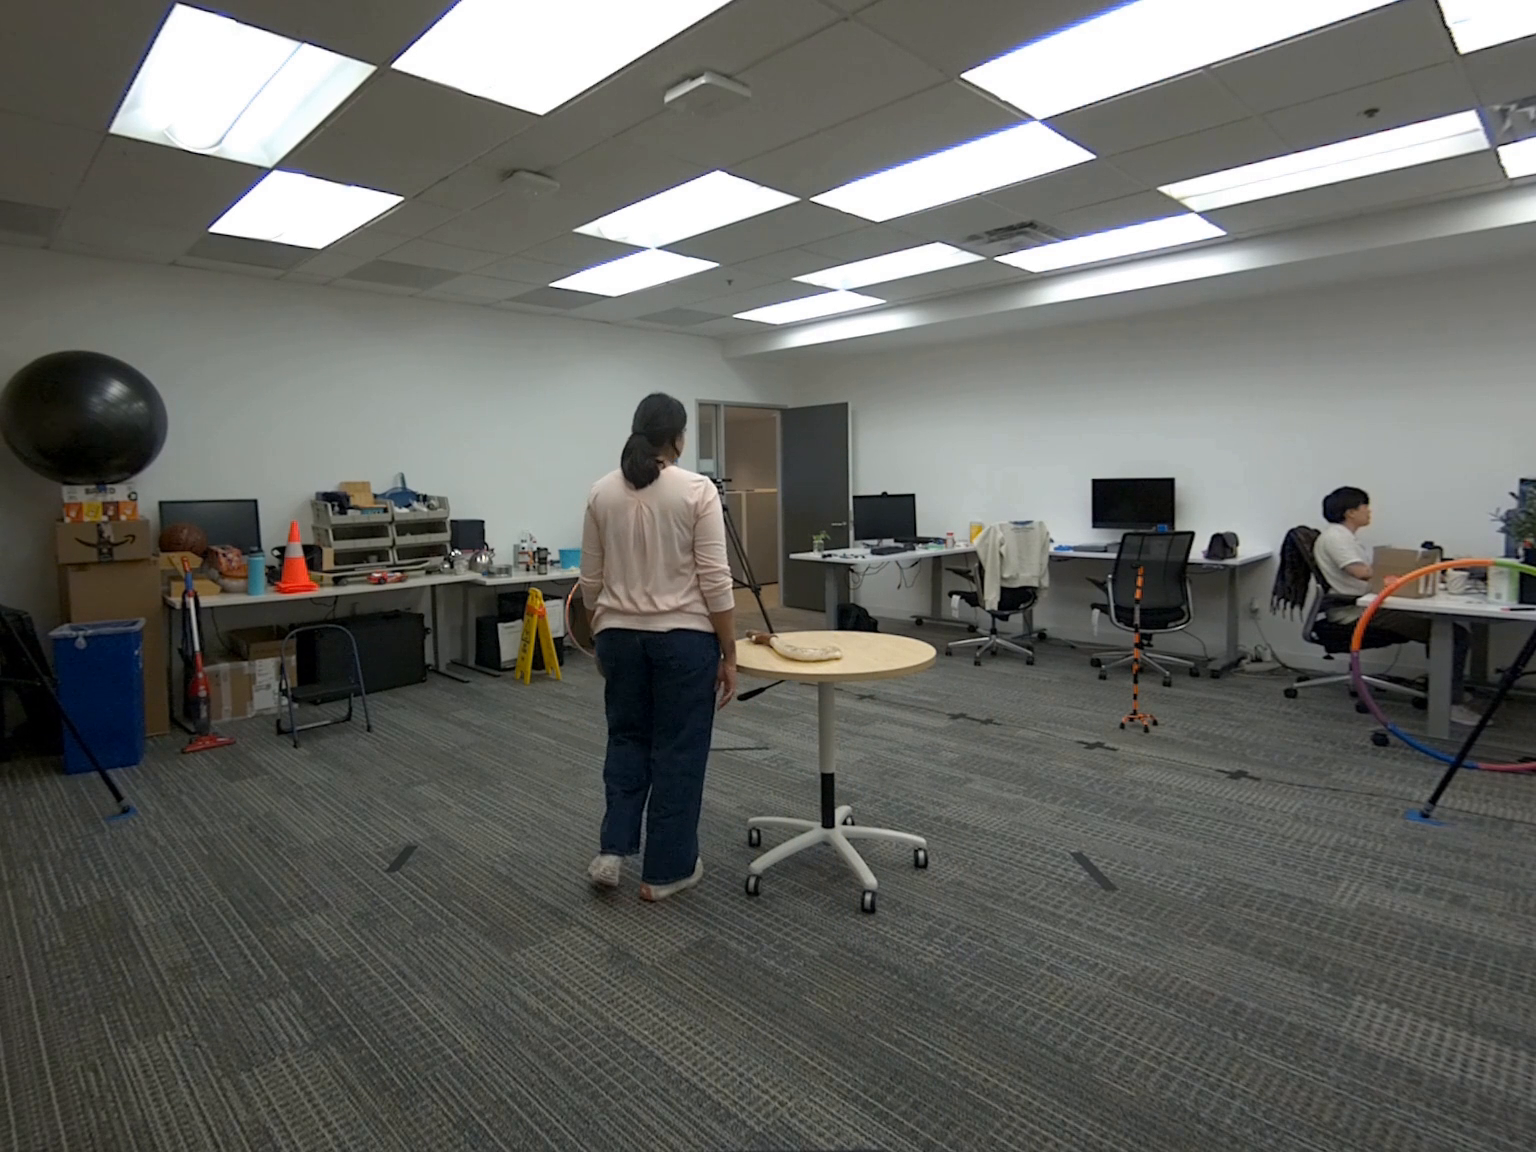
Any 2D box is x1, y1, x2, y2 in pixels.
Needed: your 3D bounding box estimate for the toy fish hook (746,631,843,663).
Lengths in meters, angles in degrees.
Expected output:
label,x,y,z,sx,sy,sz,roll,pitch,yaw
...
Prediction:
label,x,y,z,sx,sy,sz,roll,pitch,yaw
toy fish hook,0.089,0.248,3.075,0.220,0.048,0.520,1,6,-25
